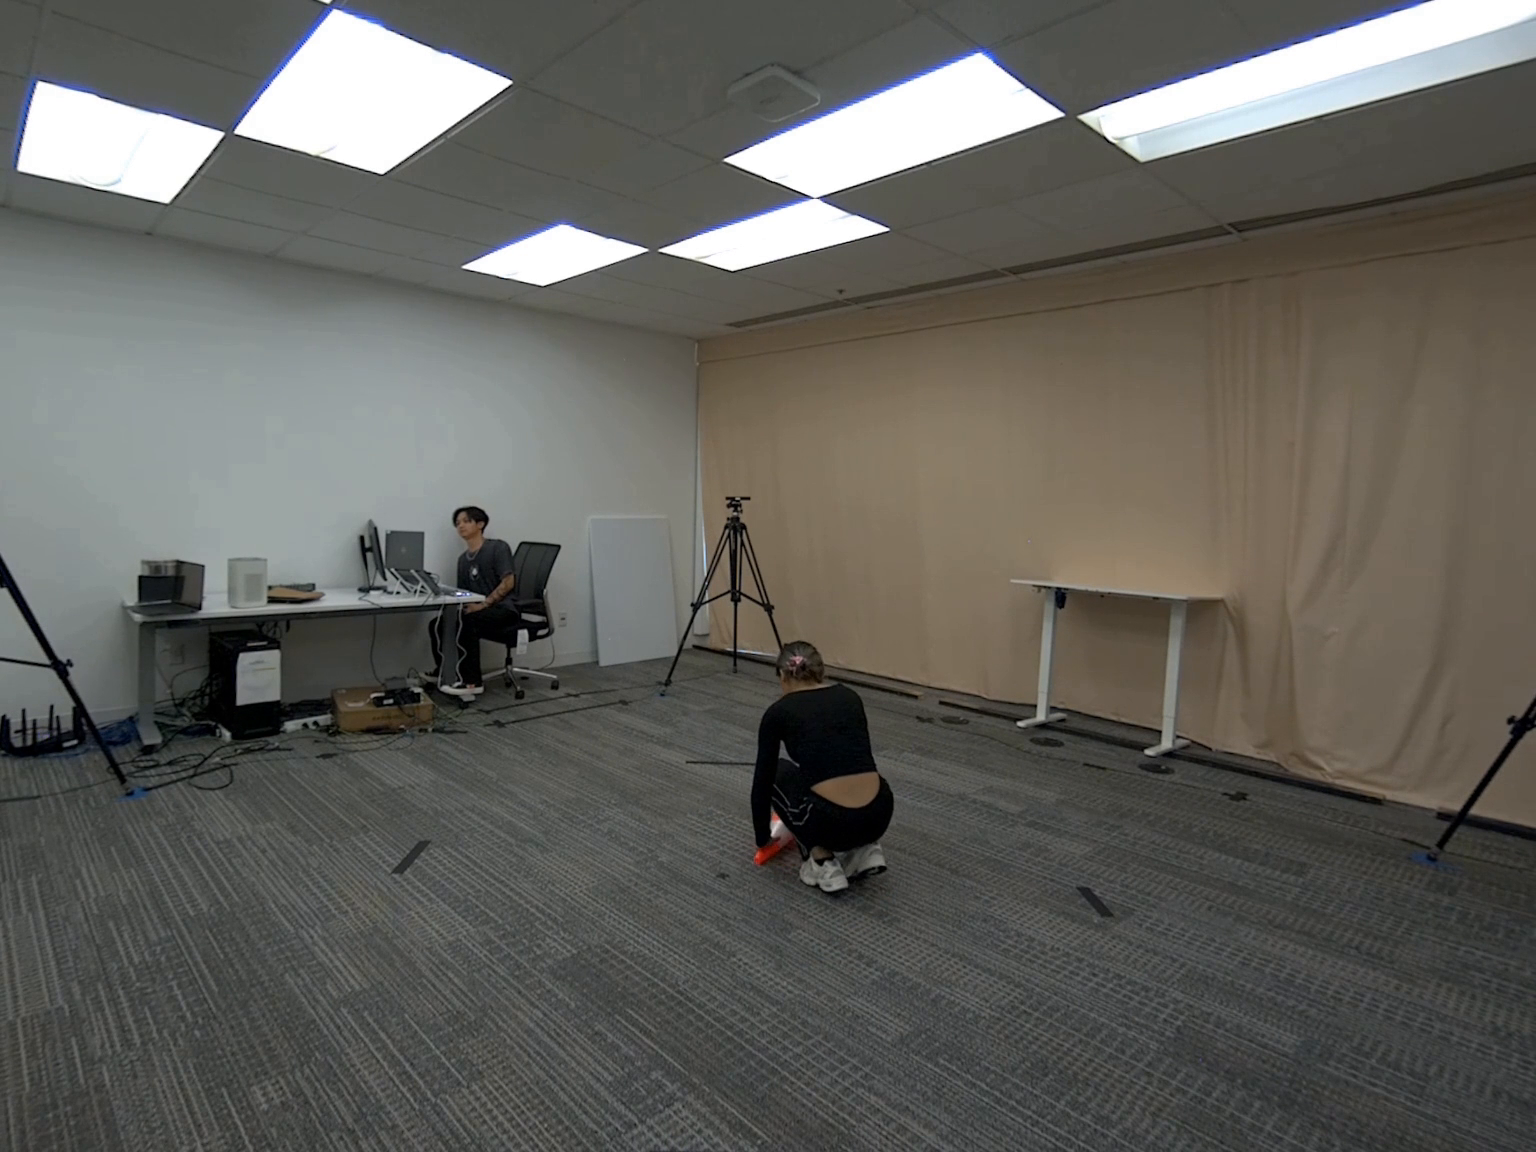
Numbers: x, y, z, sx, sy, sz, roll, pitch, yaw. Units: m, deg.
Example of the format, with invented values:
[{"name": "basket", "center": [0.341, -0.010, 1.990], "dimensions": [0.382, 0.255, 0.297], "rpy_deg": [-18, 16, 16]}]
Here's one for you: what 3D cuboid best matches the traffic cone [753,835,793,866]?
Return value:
[{"name": "traffic cone", "center": [0.041, 1.037, 3.361], "dimensions": [0.207, 0.203, 0.381], "rpy_deg": [-7, 12, 27]}]
